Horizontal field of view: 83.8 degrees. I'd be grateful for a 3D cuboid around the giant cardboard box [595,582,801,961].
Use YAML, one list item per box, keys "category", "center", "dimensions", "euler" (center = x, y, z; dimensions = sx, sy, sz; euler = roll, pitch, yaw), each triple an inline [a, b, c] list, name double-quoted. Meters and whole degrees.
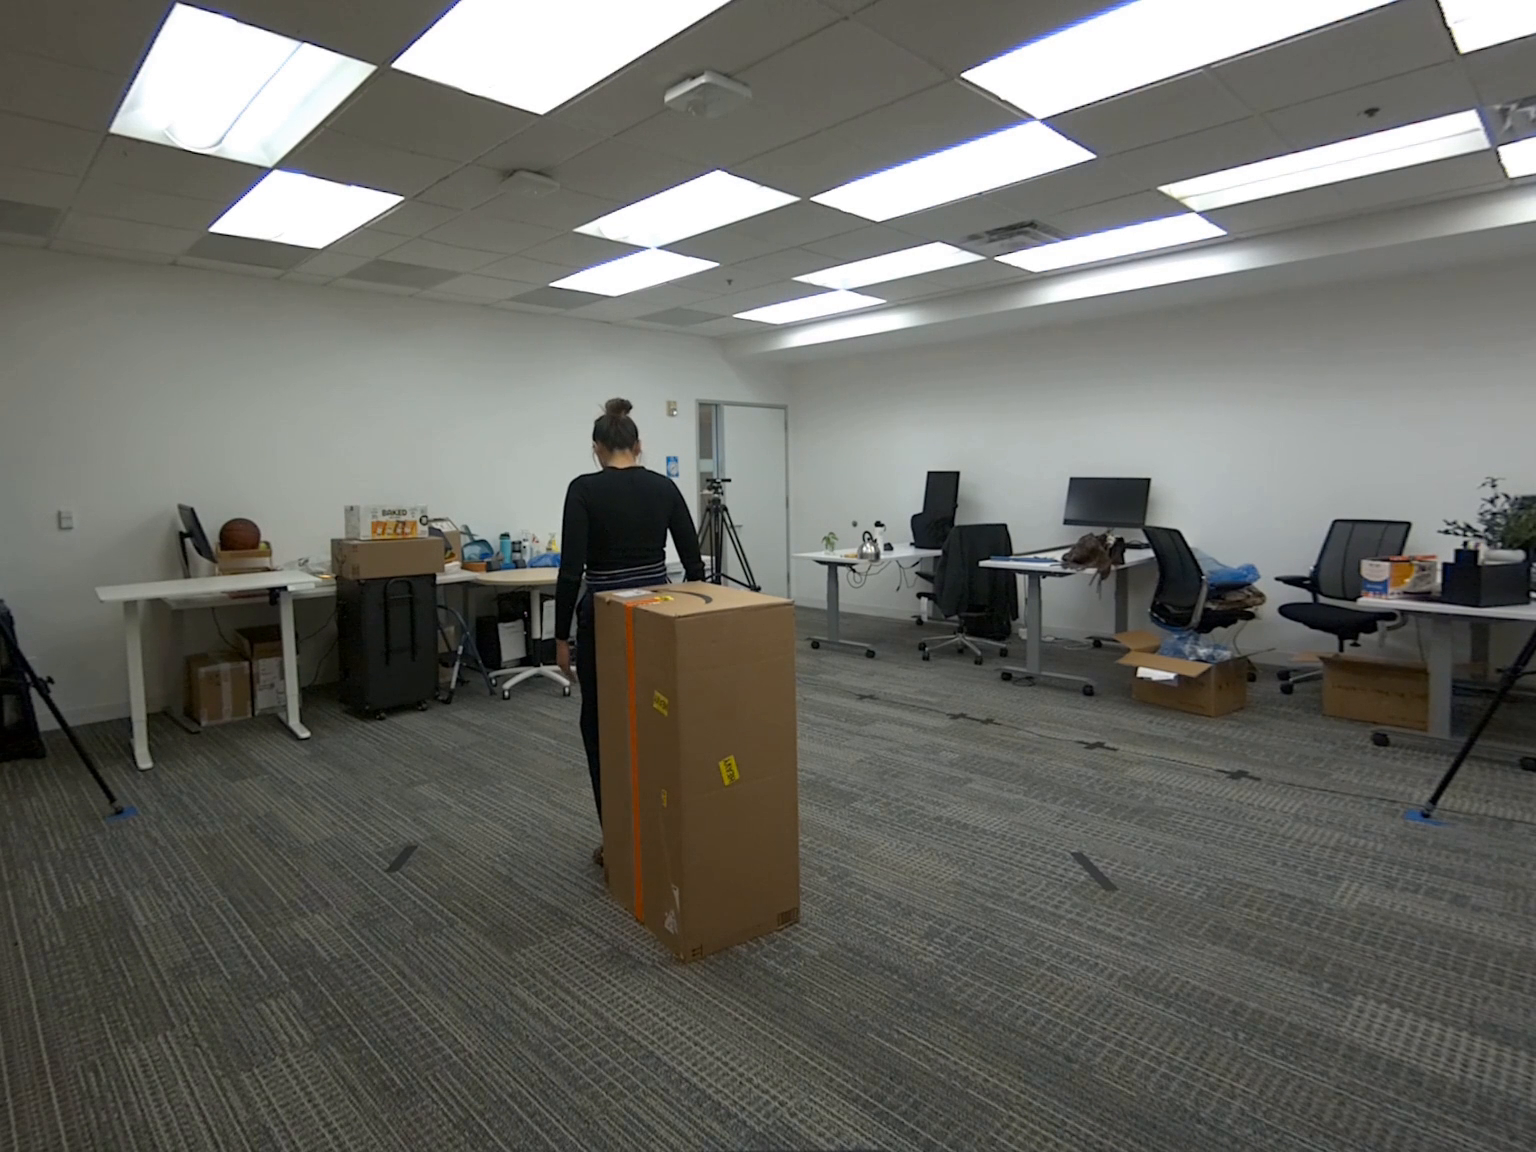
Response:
- category: "giant cardboard box"
  center: [-0.235, 0.576, 2.772]
  dimensions: [0.416, 1.021, 0.594]
  euler: [-4, 6, -33]
